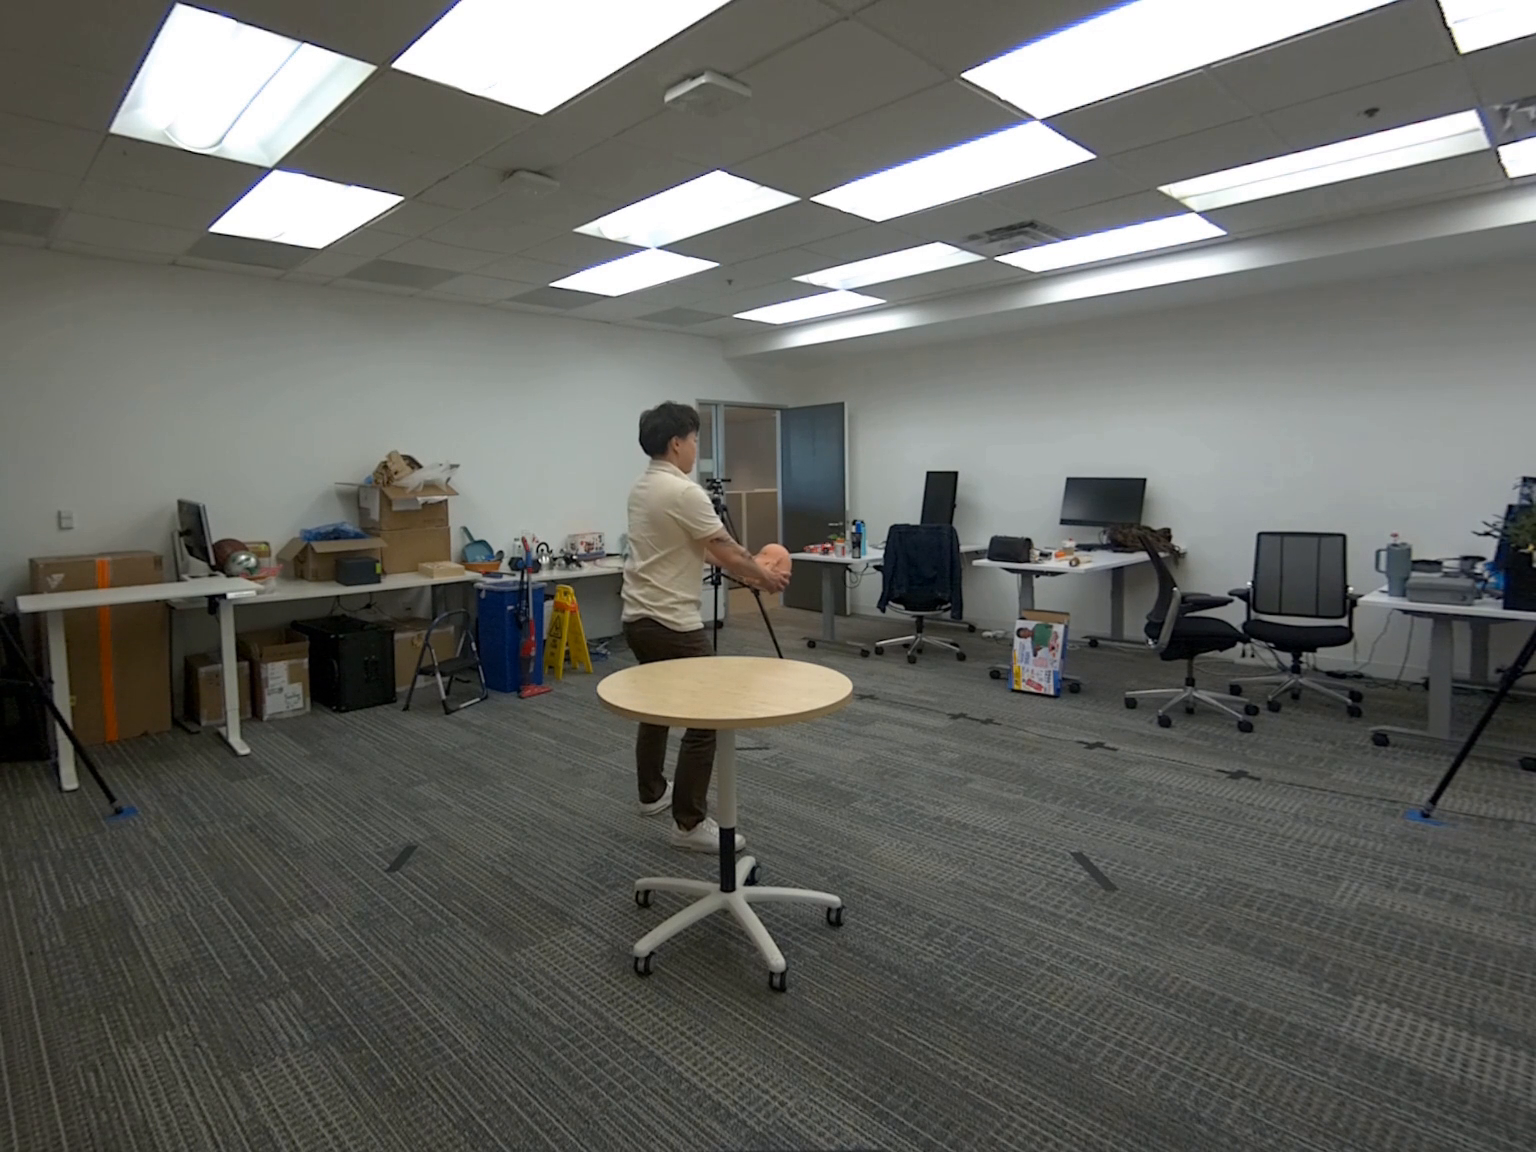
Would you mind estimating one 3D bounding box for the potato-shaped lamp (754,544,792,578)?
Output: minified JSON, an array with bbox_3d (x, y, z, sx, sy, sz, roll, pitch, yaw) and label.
[{"bbox_3d":[0.006,-0.042,3.500,0.166,0.199,0.169,18,-9,-28],"label":"potato-shaped lamp"}]
